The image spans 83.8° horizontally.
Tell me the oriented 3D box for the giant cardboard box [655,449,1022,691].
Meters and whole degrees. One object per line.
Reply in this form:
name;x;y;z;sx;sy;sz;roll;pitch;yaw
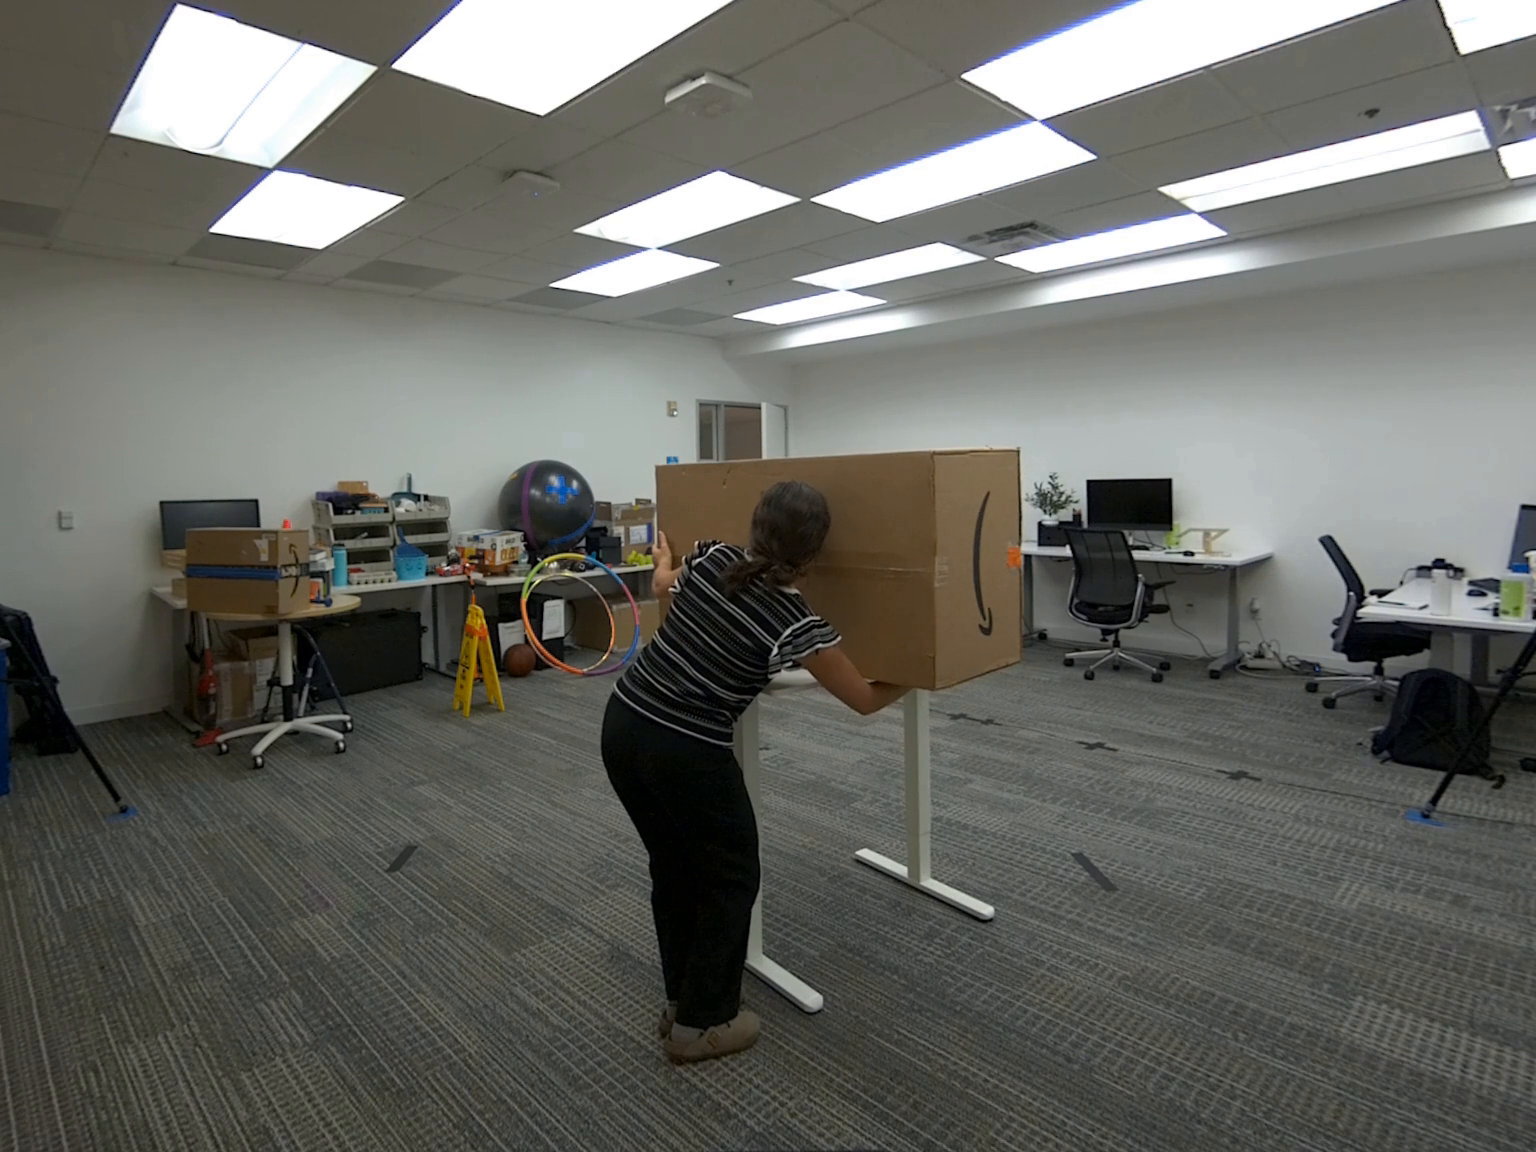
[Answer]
giant cardboard box;0.164;-0.063;2.511;0.415;0.575;1.057;-6;7;-45
